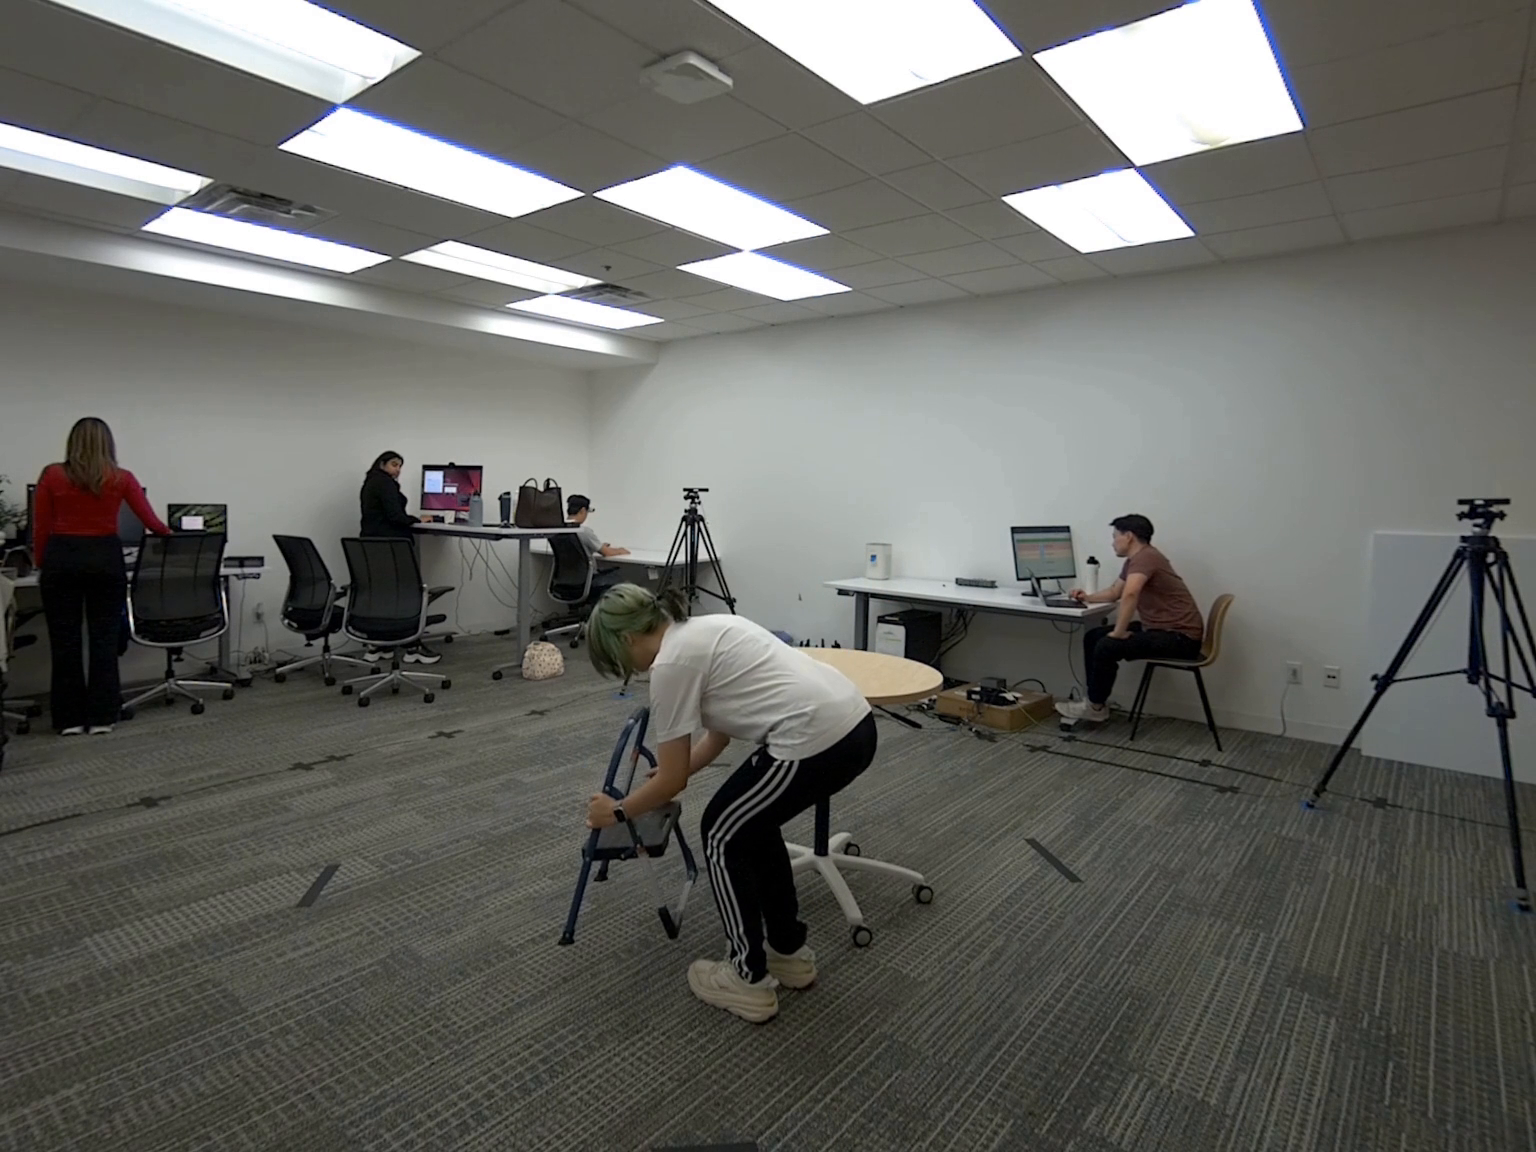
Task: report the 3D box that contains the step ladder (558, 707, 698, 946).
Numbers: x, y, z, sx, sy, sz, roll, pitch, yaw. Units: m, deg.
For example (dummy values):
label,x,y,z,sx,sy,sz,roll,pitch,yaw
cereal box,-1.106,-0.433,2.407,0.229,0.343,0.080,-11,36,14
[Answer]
label,x,y,z,sx,sy,sz,roll,pitch,yaw
step ladder,-0.451,0.716,2.596,0.351,0.604,0.430,-7,4,5
